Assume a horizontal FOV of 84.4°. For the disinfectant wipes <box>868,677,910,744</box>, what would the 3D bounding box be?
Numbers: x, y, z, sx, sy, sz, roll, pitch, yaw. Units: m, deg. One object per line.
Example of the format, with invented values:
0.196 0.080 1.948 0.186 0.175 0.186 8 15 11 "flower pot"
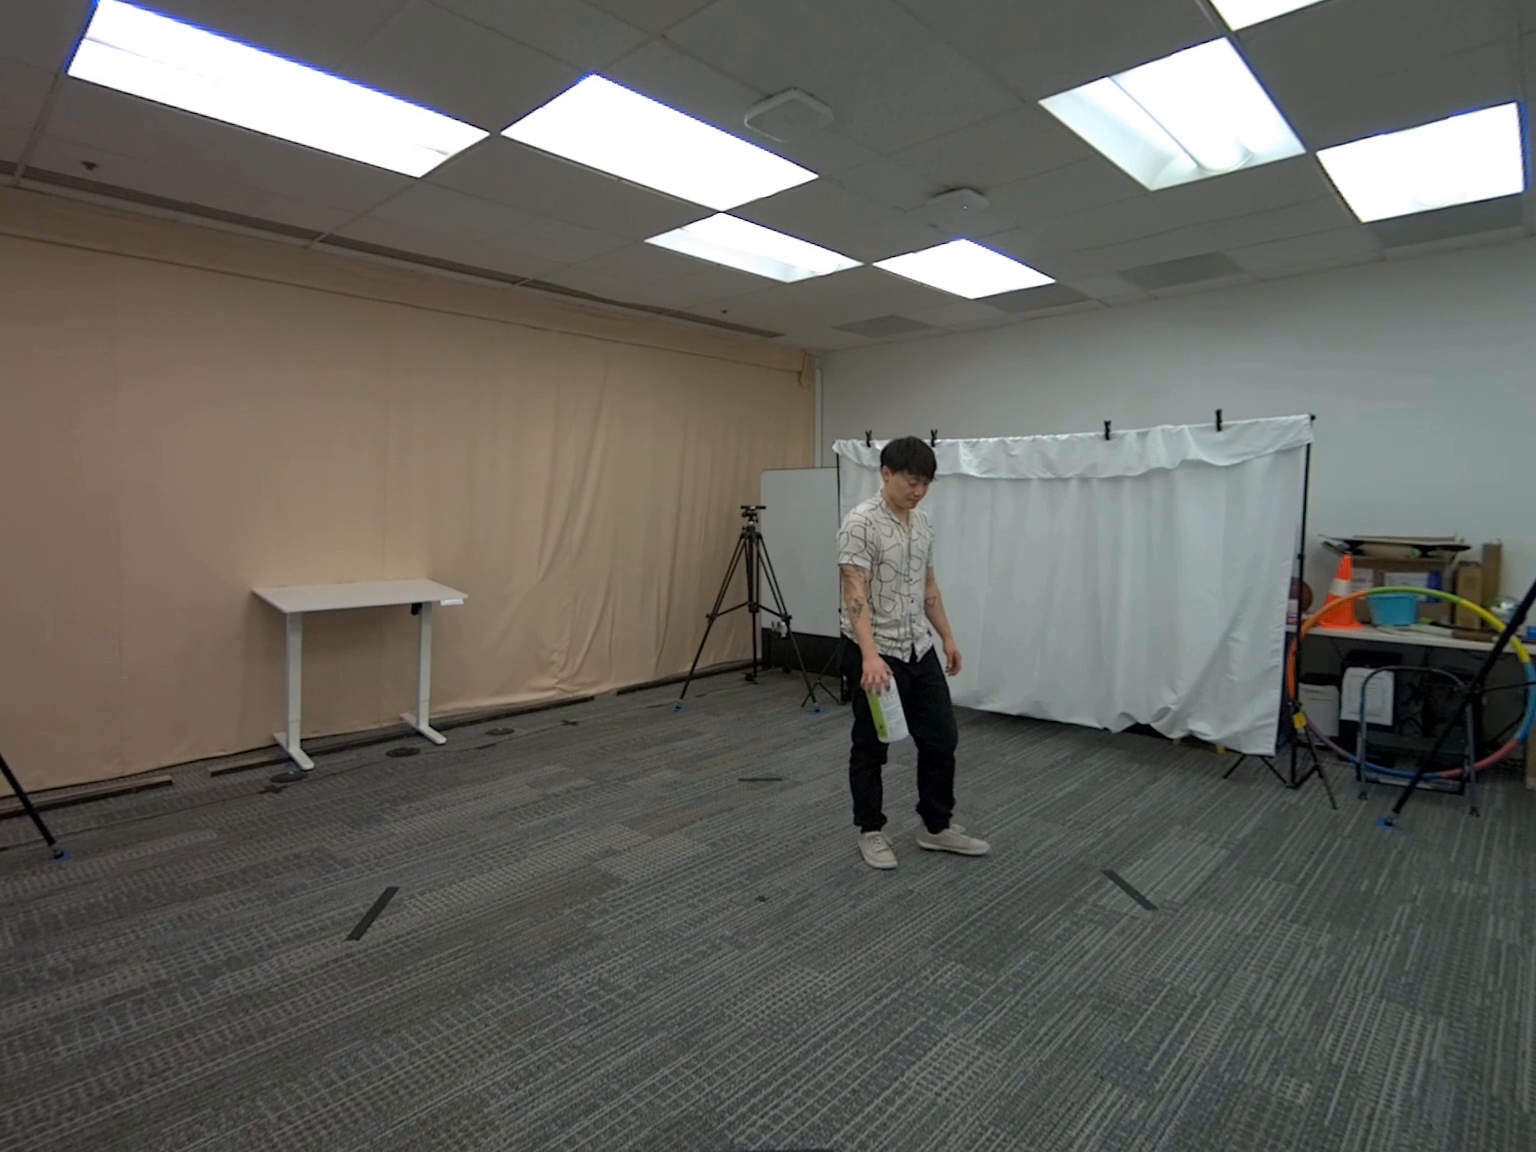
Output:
0.414 0.474 3.012 0.118 0.216 0.118 -15 5 0 "disinfectant wipes"
